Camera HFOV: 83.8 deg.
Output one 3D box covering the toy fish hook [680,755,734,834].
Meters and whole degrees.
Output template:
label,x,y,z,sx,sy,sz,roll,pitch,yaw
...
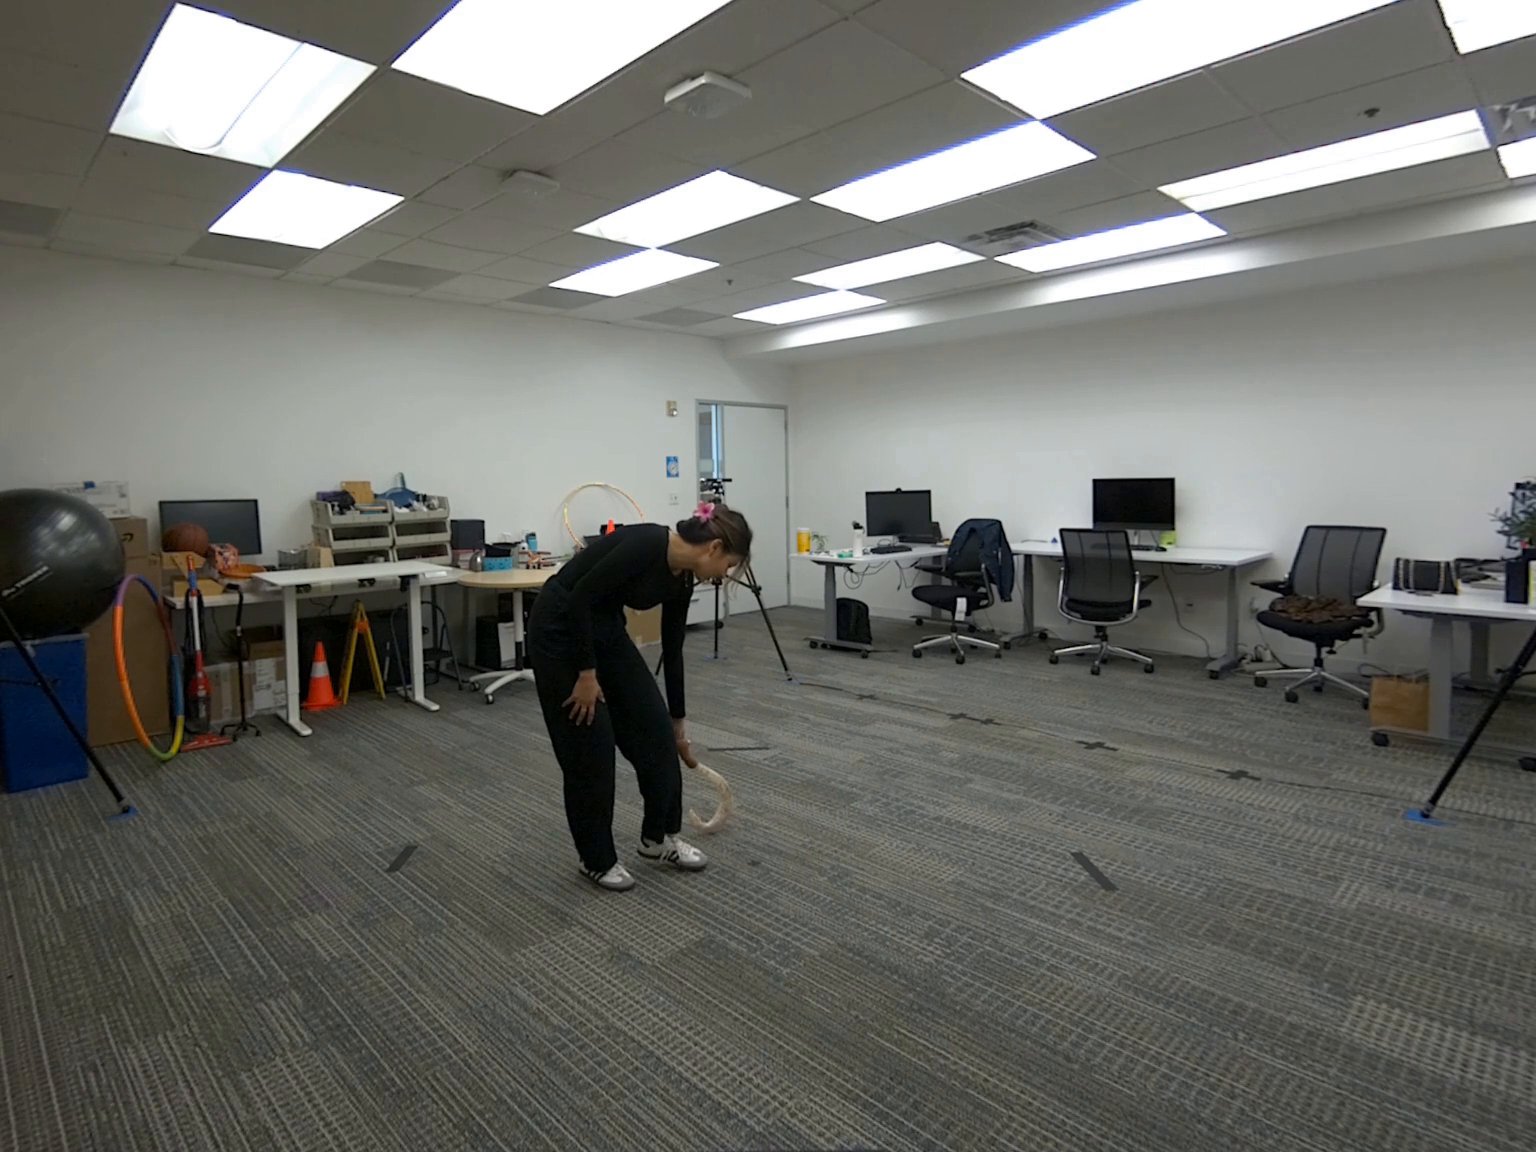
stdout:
label,x,y,z,sx,sy,sz,roll,pitch,yaw
toy fish hook,-0.277,0.797,3.301,0.049,0.491,0.226,-5,37,39
